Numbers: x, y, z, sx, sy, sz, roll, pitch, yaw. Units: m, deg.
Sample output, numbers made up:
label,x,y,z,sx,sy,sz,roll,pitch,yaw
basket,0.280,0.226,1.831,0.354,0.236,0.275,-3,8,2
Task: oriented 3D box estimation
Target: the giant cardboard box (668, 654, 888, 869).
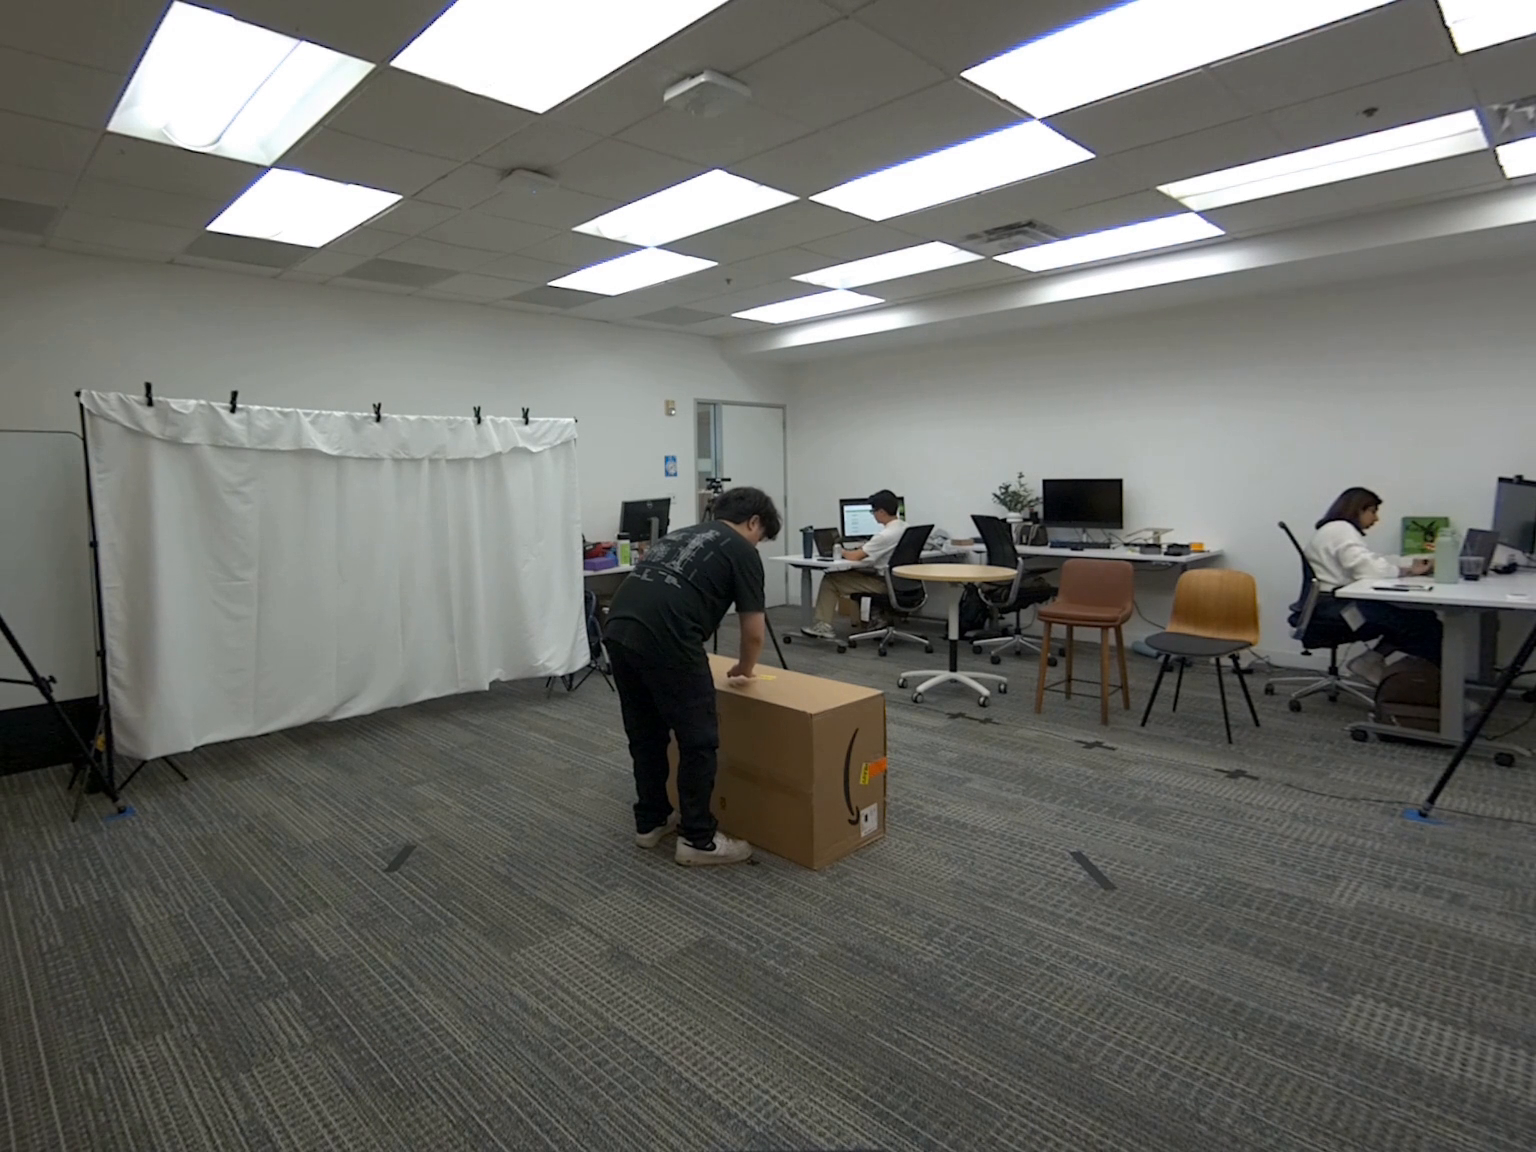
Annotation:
label,x,y,z,sx,sy,sz,roll,pitch,yaw
giant cardboard box,-0.055,0.709,3.530,0.435,0.582,1.059,-4,7,-44
